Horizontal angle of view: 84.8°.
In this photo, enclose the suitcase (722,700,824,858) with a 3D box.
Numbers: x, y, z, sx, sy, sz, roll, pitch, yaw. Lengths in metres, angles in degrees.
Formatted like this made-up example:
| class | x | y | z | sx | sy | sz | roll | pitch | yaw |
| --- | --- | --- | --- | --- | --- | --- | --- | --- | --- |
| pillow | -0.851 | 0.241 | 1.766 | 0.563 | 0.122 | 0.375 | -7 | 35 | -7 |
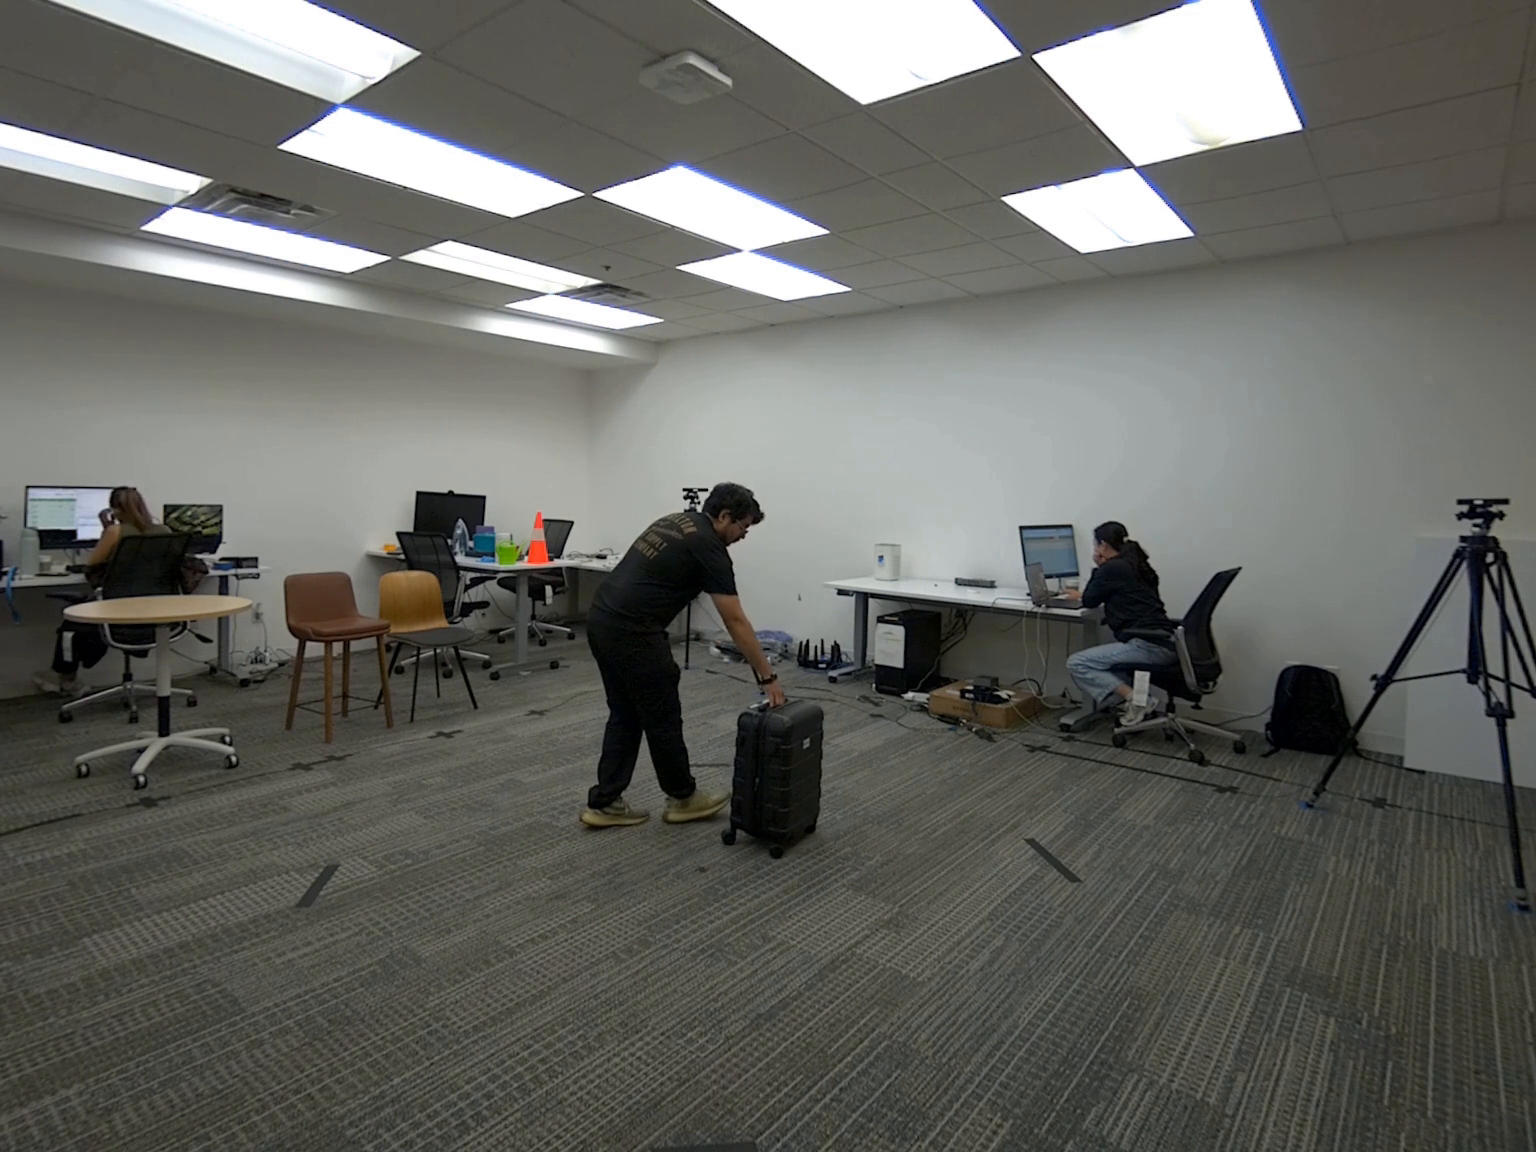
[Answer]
| class | x | y | z | sx | sy | sz | roll | pitch | yaw |
| --- | --- | --- | --- | --- | --- | --- | --- | --- | --- |
| suitcase | 0.035 | 0.774 | 3.392 | 0.256 | 0.547 | 0.365 | 5 | 5 | 30 |
